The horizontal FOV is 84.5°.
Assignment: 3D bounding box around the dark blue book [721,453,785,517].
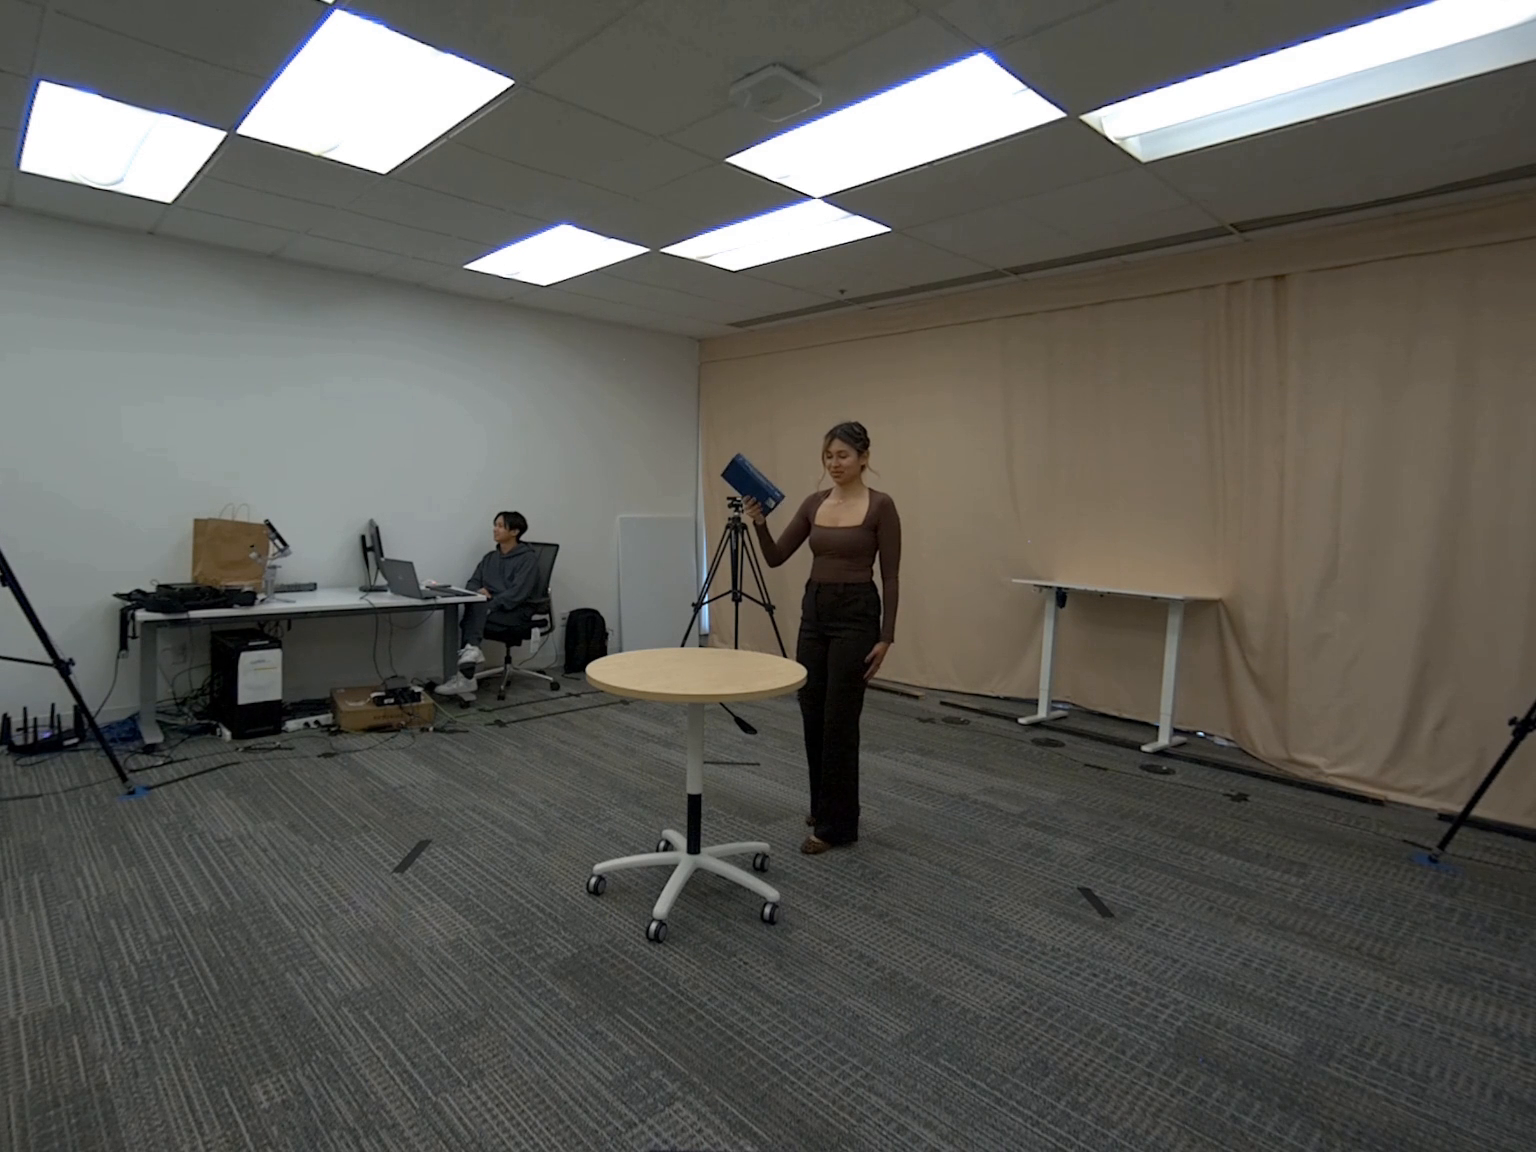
[{"bbox_3d":[-0.069,-0.344,3.242,0.045,0.245,0.163,-45,-1,-27],"label":"dark blue book"}]
